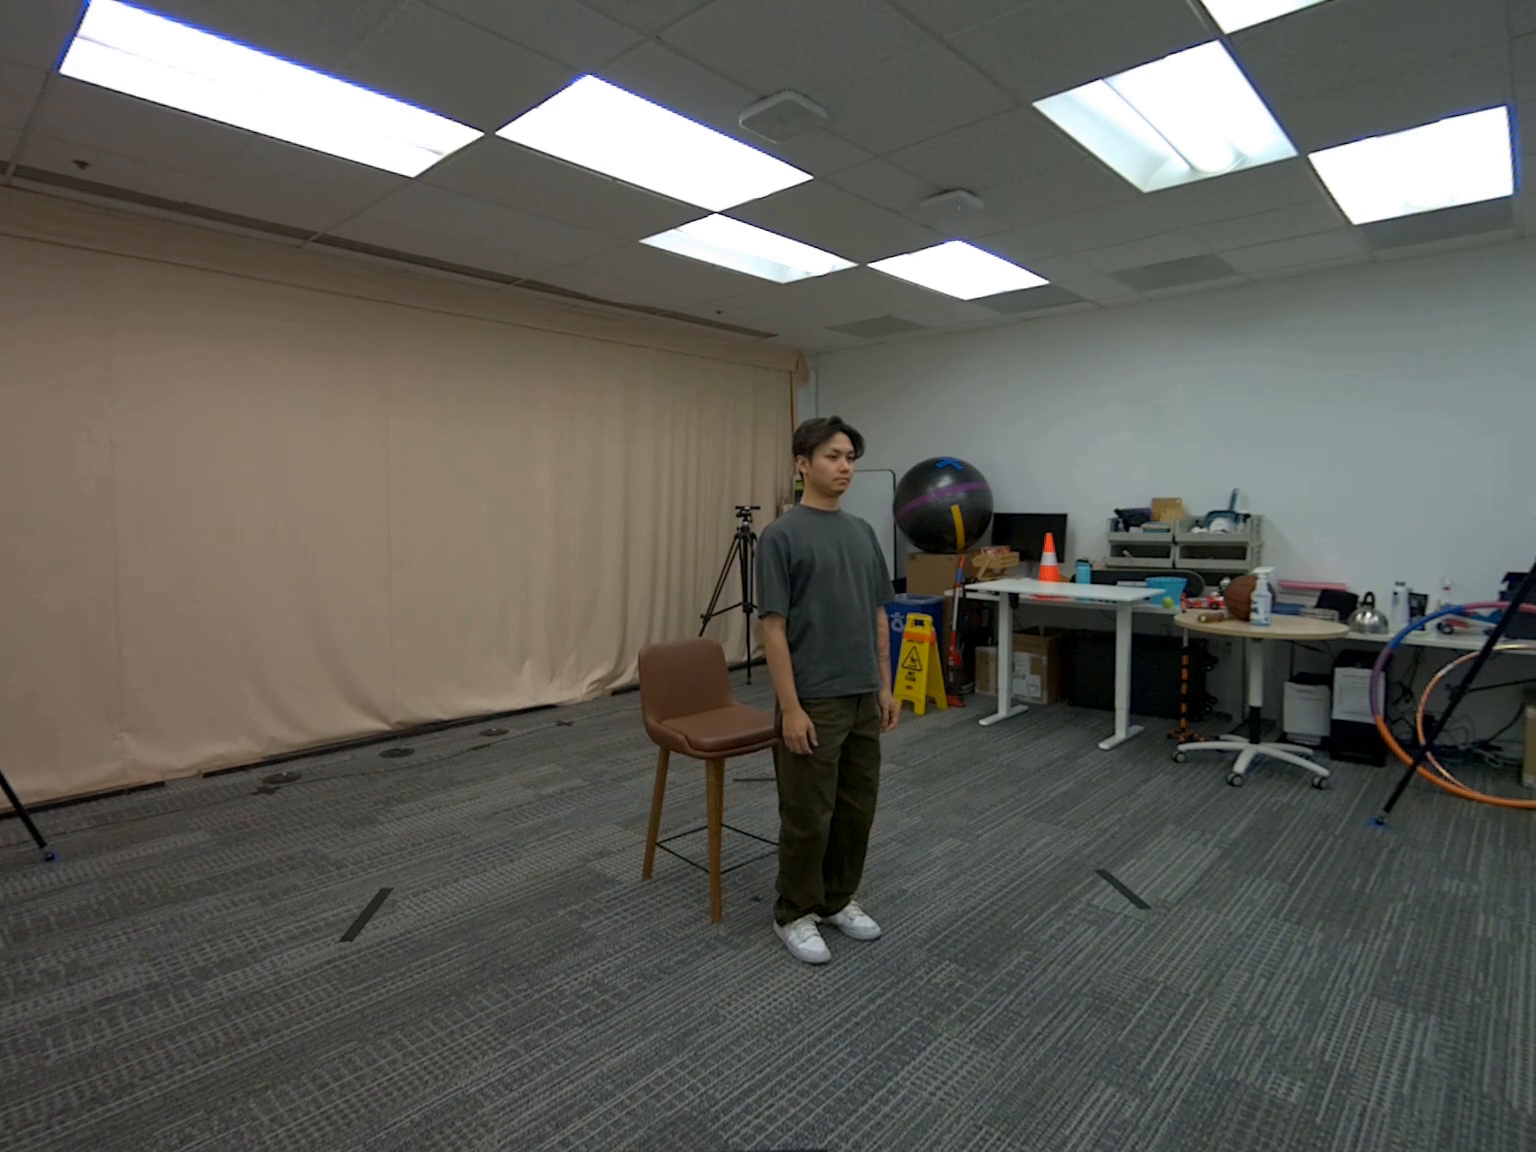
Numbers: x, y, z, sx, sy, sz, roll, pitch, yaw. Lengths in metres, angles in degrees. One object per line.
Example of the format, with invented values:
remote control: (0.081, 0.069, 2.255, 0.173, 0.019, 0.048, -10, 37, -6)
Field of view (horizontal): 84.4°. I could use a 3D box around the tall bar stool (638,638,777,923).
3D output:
tall bar stool: (-0.191, 0.700, 3.092, 0.442, 0.889, 0.482, -4, 2, -43)
